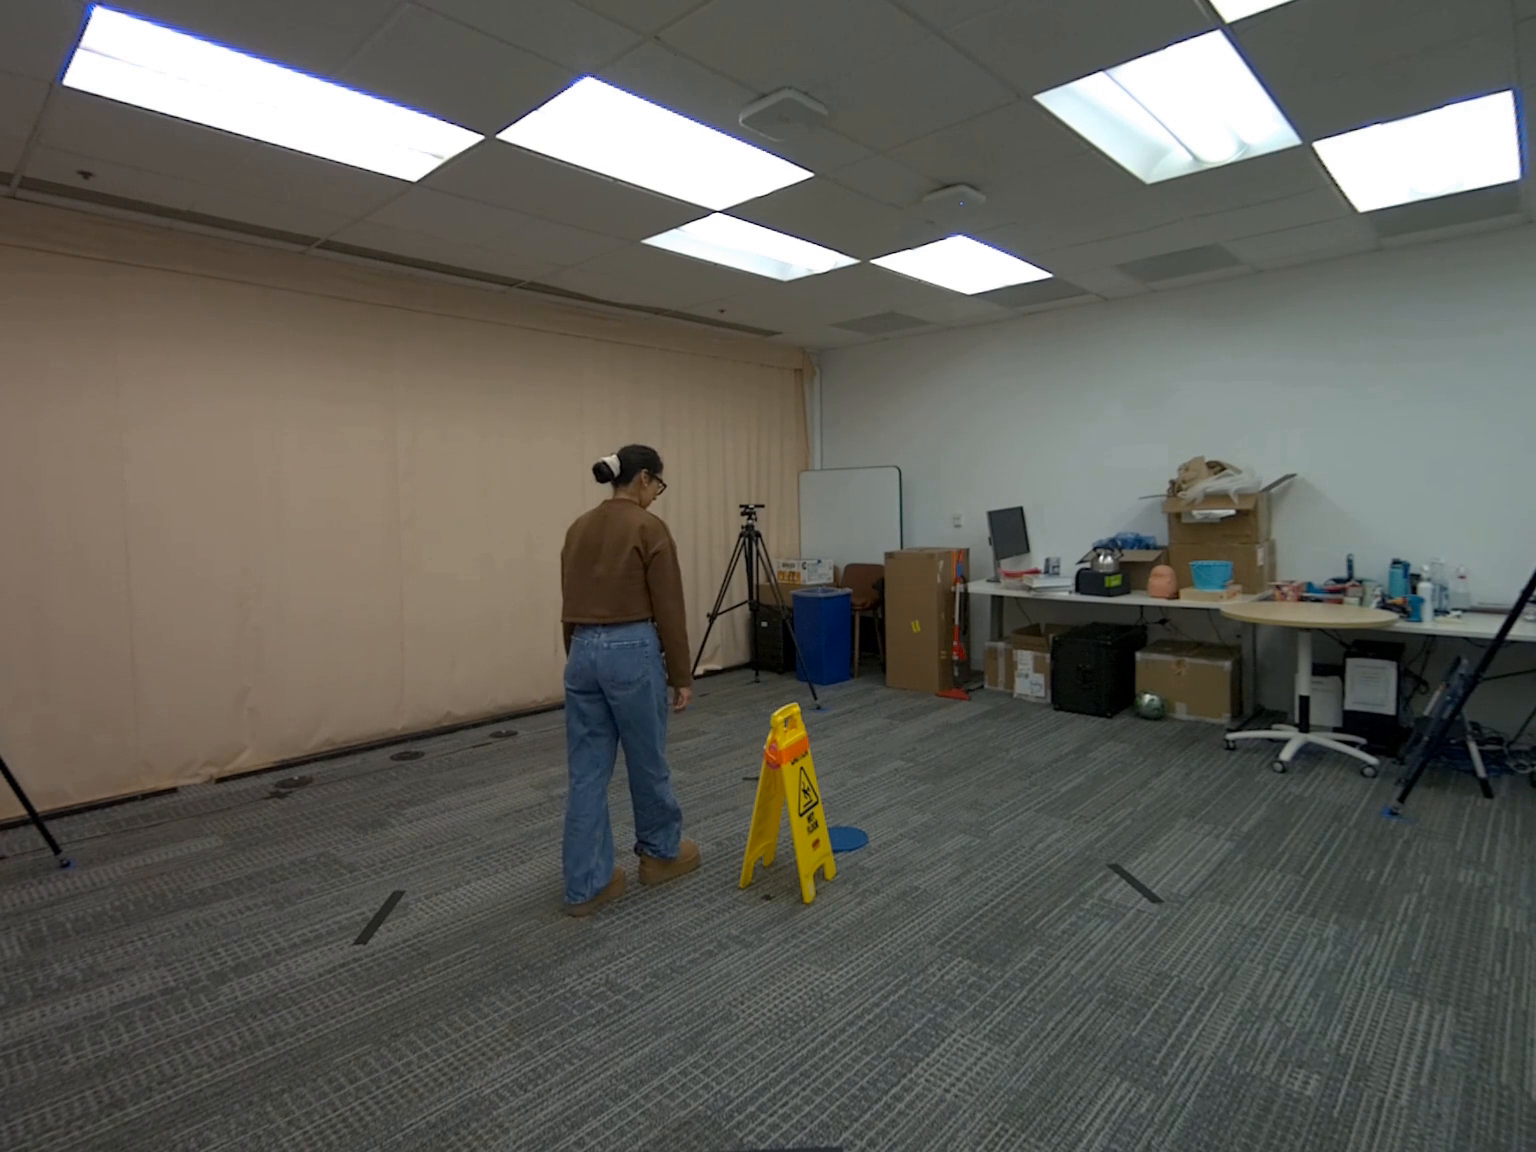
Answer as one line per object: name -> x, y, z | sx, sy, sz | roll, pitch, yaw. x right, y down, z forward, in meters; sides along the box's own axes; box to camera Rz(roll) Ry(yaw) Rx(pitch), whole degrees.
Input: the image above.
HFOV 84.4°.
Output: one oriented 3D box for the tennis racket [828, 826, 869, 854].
tennis racket -> 0.257, 1.083, 3.402 | 0.220, 0.032, 0.421 | 3, 5, 32
